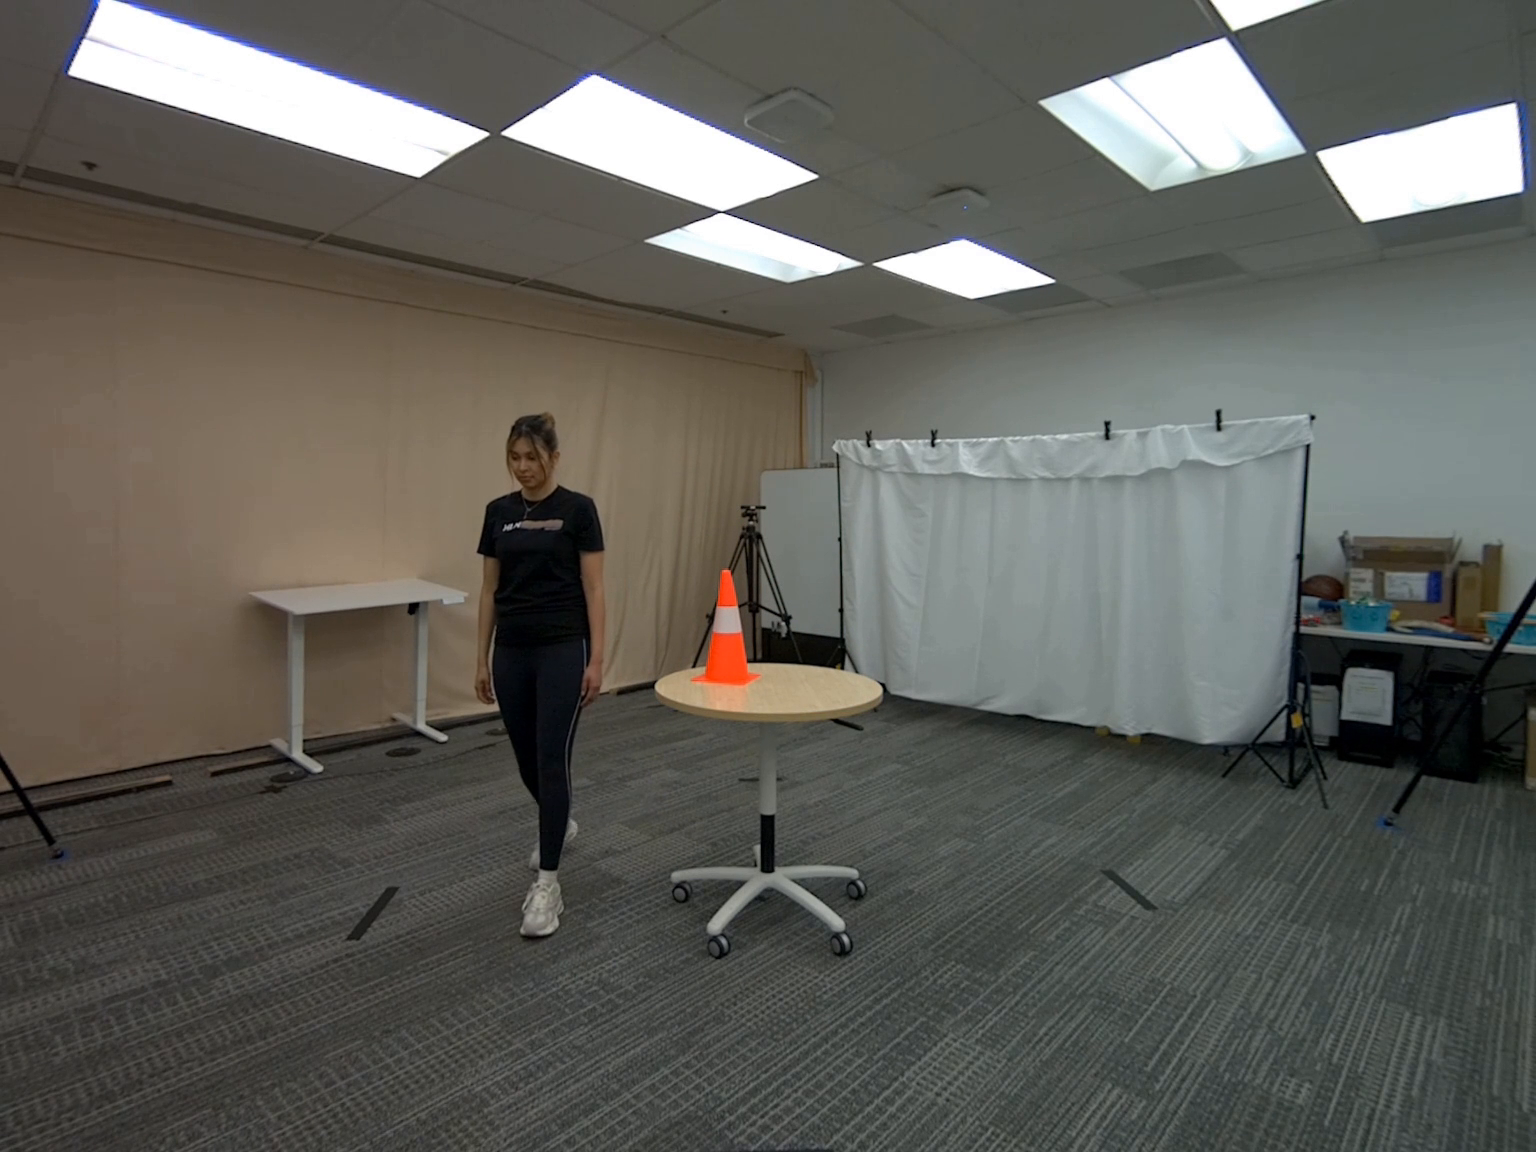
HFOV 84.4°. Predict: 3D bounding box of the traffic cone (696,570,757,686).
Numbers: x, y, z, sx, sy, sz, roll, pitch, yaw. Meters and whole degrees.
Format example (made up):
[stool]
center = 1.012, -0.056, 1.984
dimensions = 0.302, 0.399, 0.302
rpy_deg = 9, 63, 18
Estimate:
[traffic cone]
center = -0.147, 0.176, 2.957
dimensions = 0.209, 0.383, 0.200
rpy_deg = 1, 3, 18
